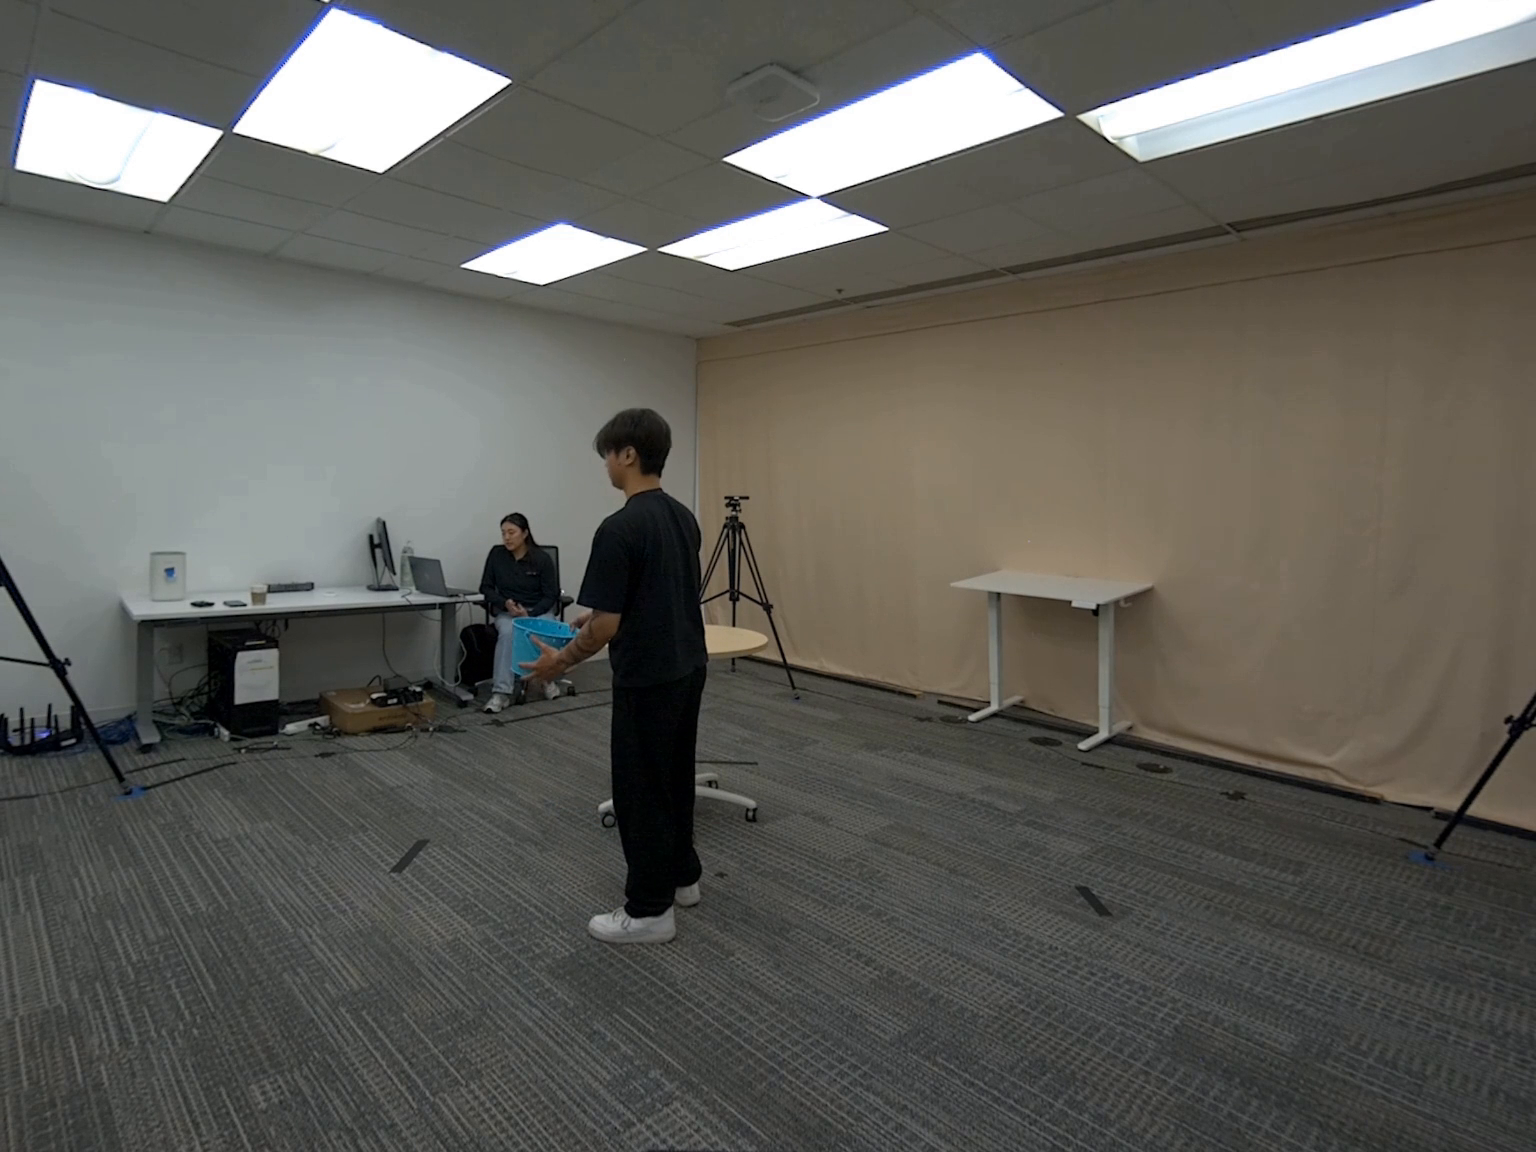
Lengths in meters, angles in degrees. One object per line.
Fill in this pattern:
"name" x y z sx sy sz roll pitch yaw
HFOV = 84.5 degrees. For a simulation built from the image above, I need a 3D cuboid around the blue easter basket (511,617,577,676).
"blue easter basket" -0.727 0.246 2.722 0.243 0.155 0.244 11 5 -2
